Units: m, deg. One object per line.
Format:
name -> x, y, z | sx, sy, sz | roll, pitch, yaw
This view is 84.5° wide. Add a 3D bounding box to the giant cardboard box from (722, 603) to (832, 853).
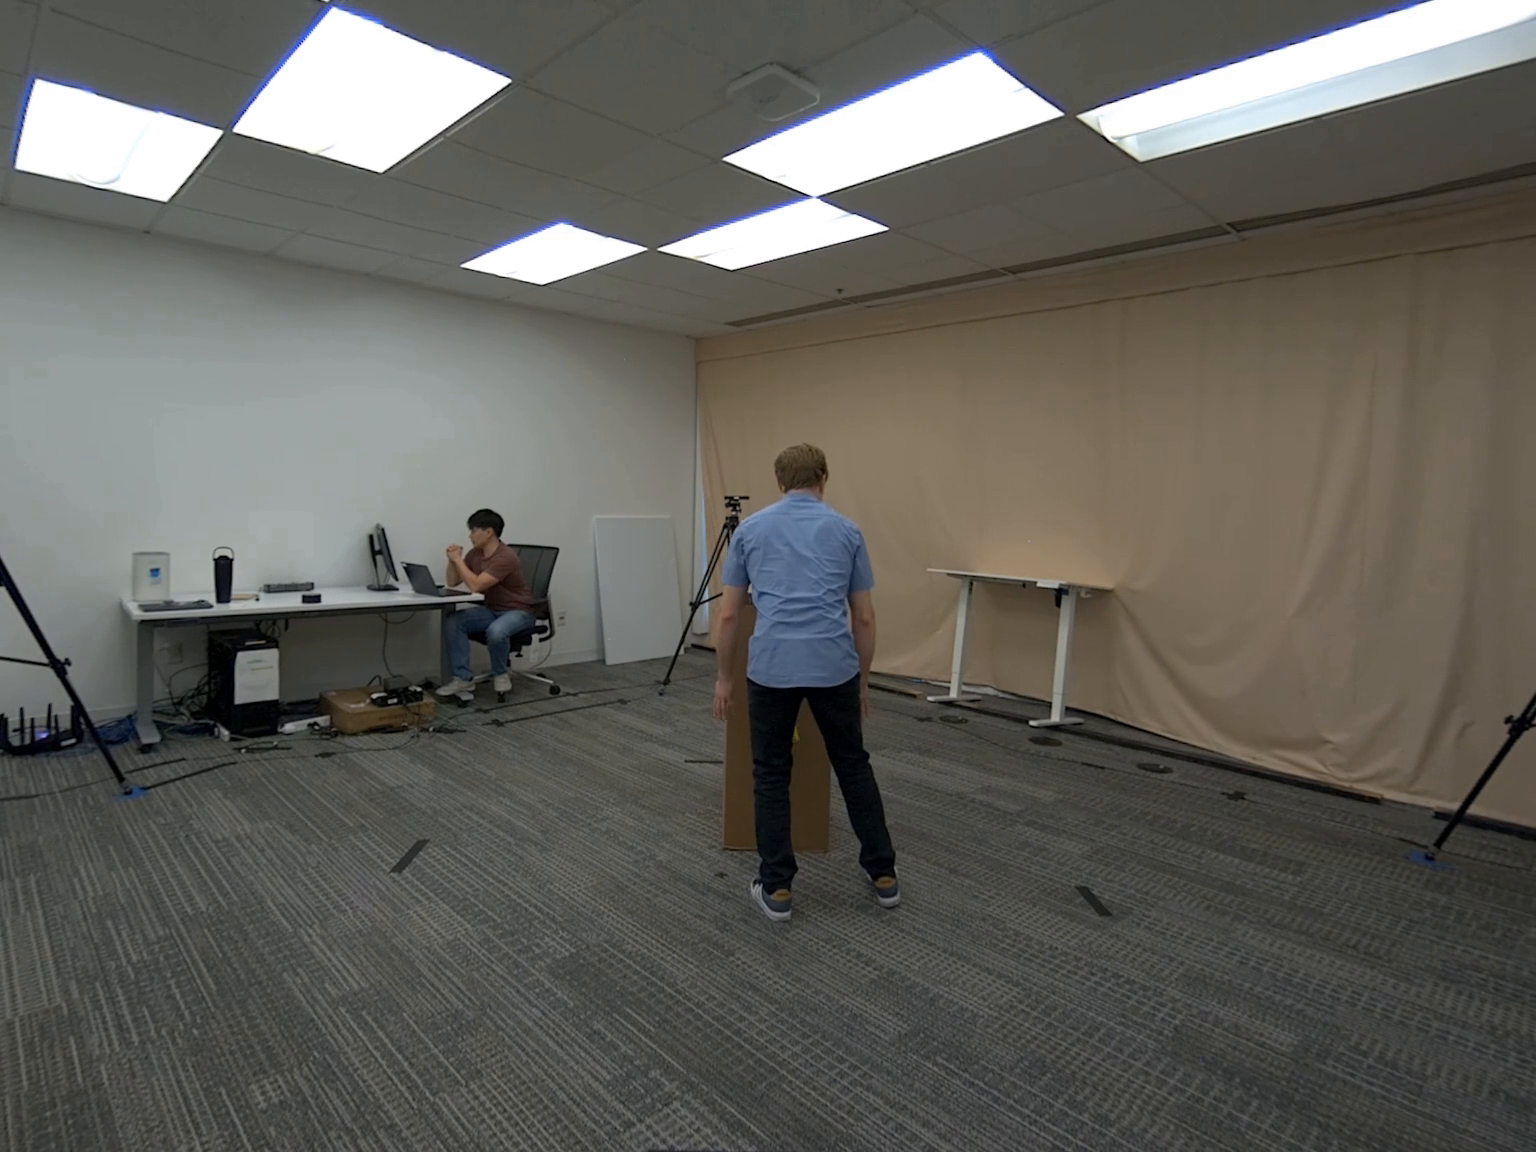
giant cardboard box -> 0.029, 0.556, 3.591 | 0.426, 1.024, 0.579 | 2, 3, -2
